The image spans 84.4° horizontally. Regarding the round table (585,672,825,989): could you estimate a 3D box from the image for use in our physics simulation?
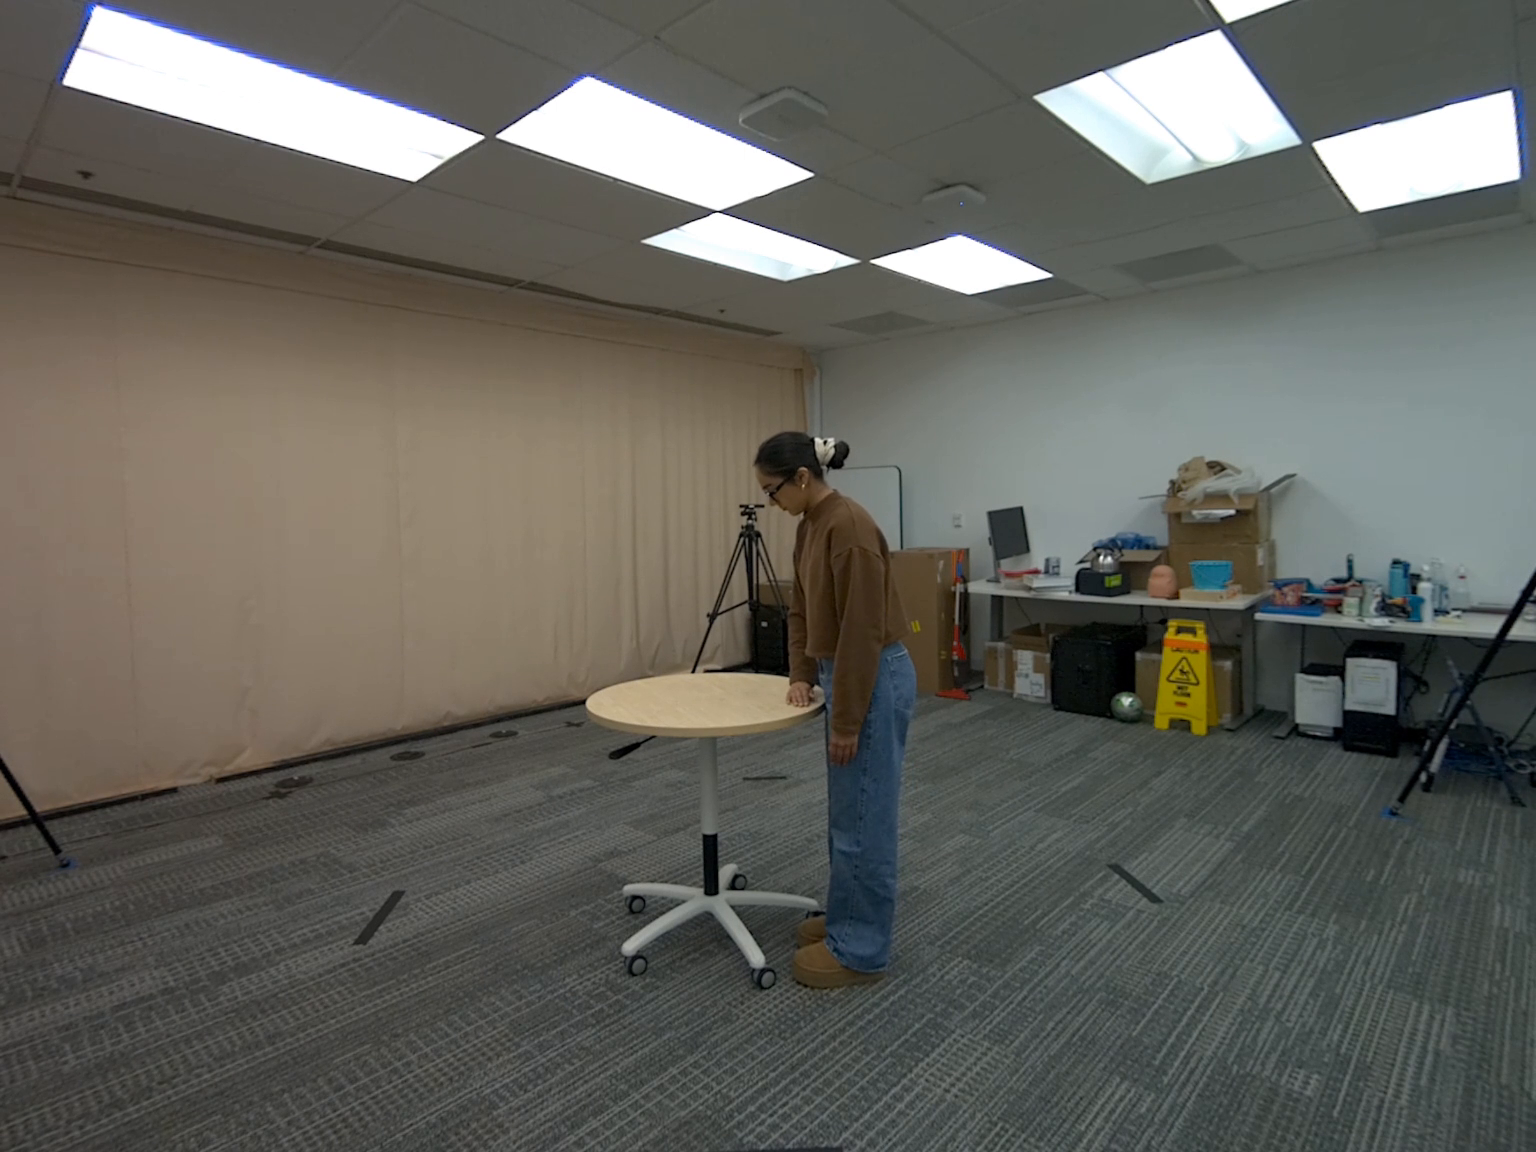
[{"bbox_3d":[-0.188,0.781,2.710,0.763,0.792,0.767,-1,4,-2],"label":"round table"}]
